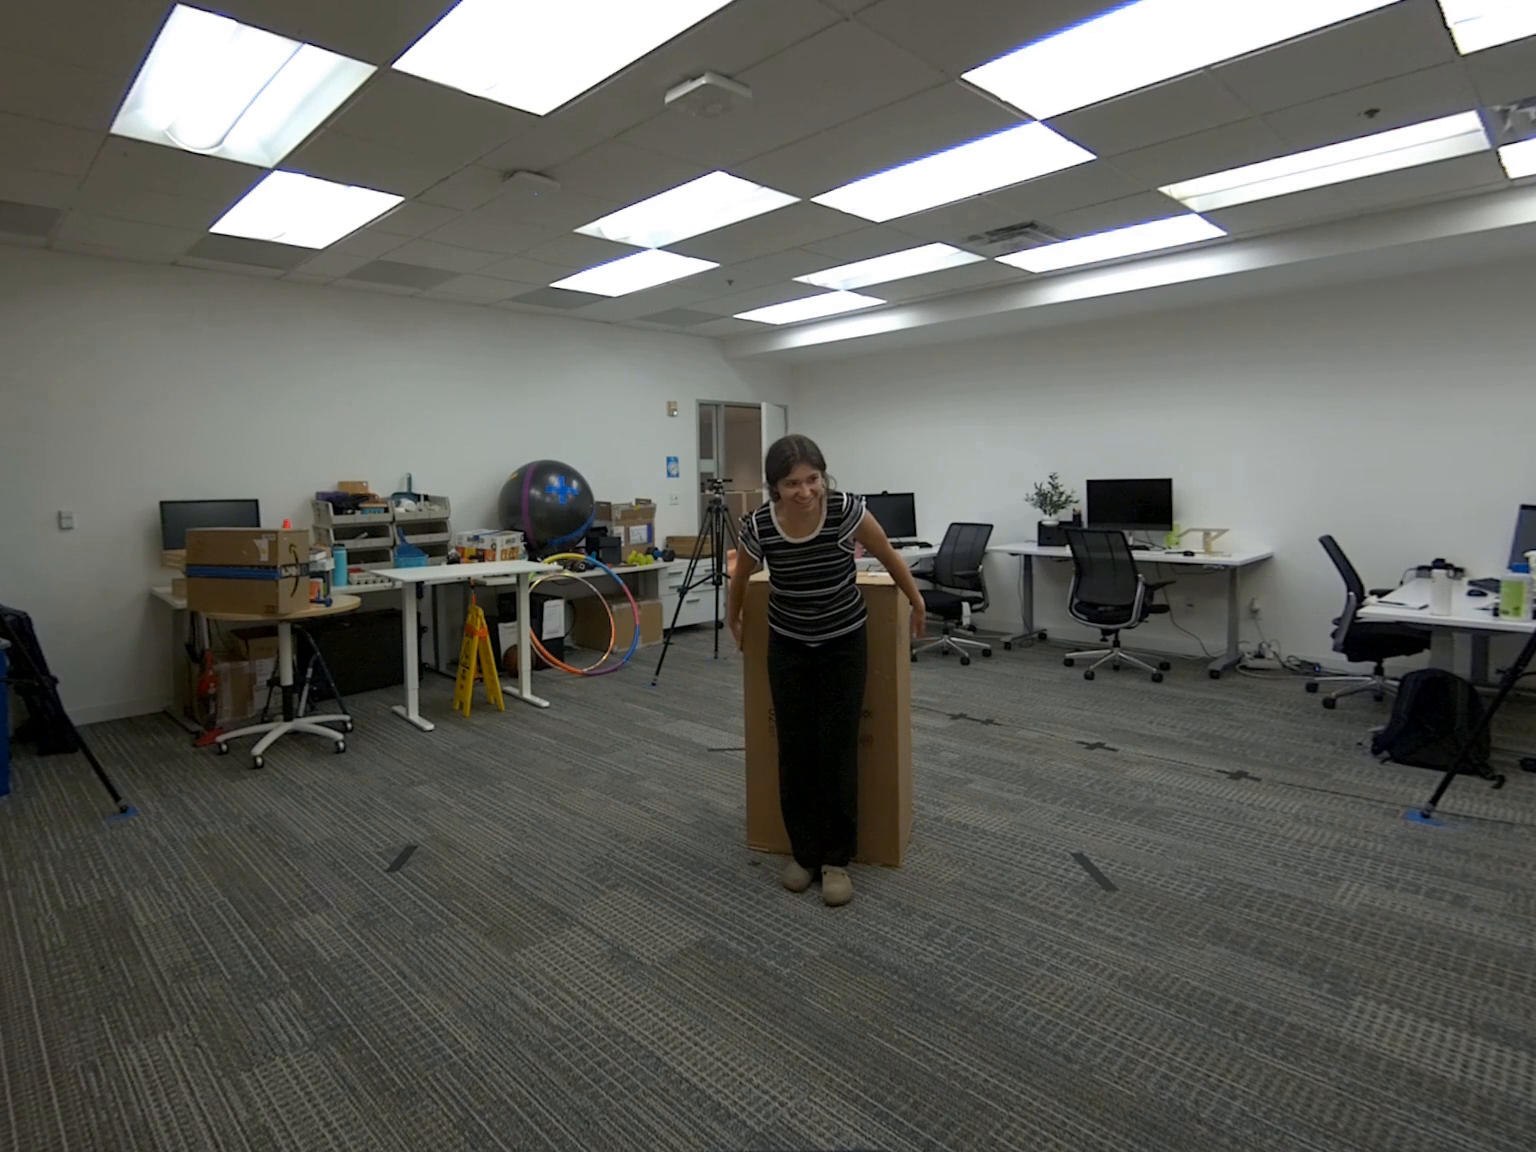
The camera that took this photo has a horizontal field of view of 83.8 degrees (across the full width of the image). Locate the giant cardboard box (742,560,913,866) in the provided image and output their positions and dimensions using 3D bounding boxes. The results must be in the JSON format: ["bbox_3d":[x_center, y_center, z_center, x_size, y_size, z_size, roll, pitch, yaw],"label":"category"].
[{"bbox_3d":[0.237,0.505,3.313,0.587,1.022,0.421,0,4,16],"label":"giant cardboard box"}]
